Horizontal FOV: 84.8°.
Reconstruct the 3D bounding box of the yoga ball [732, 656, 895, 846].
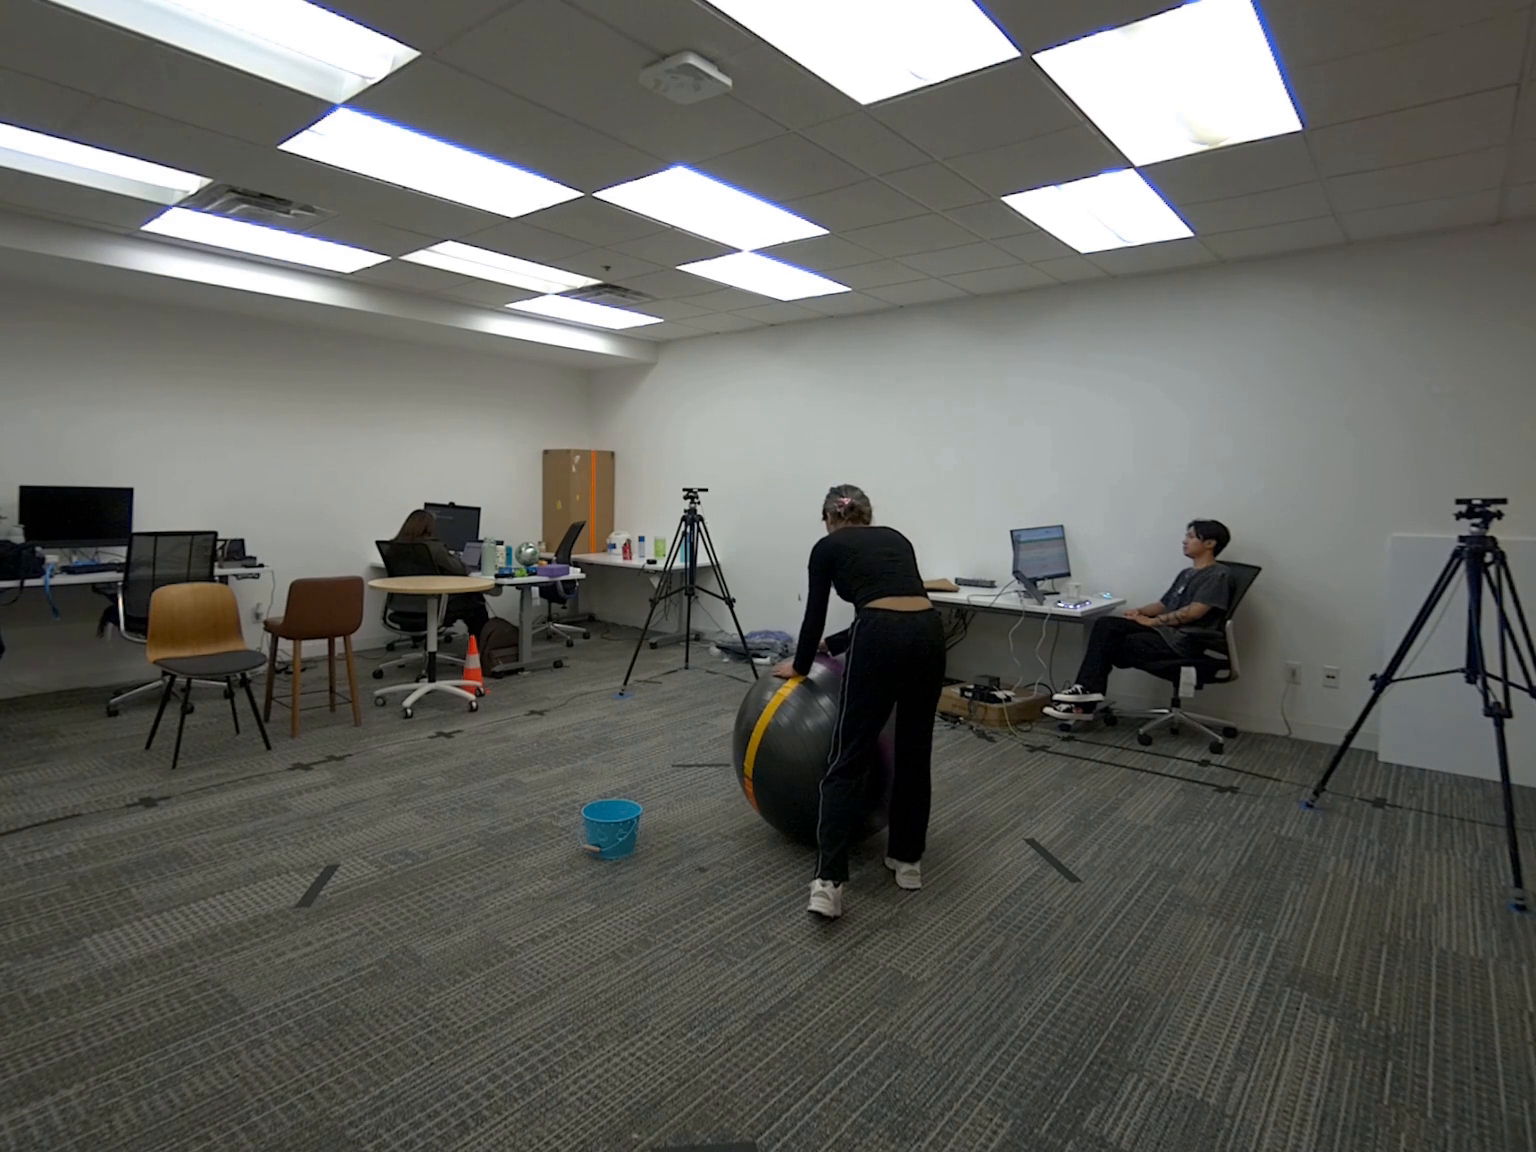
[{"bbox_3d":[0.224,0.684,3.428,0.757,0.755,0.762,1,4,-2],"label":"yoga ball"}]
